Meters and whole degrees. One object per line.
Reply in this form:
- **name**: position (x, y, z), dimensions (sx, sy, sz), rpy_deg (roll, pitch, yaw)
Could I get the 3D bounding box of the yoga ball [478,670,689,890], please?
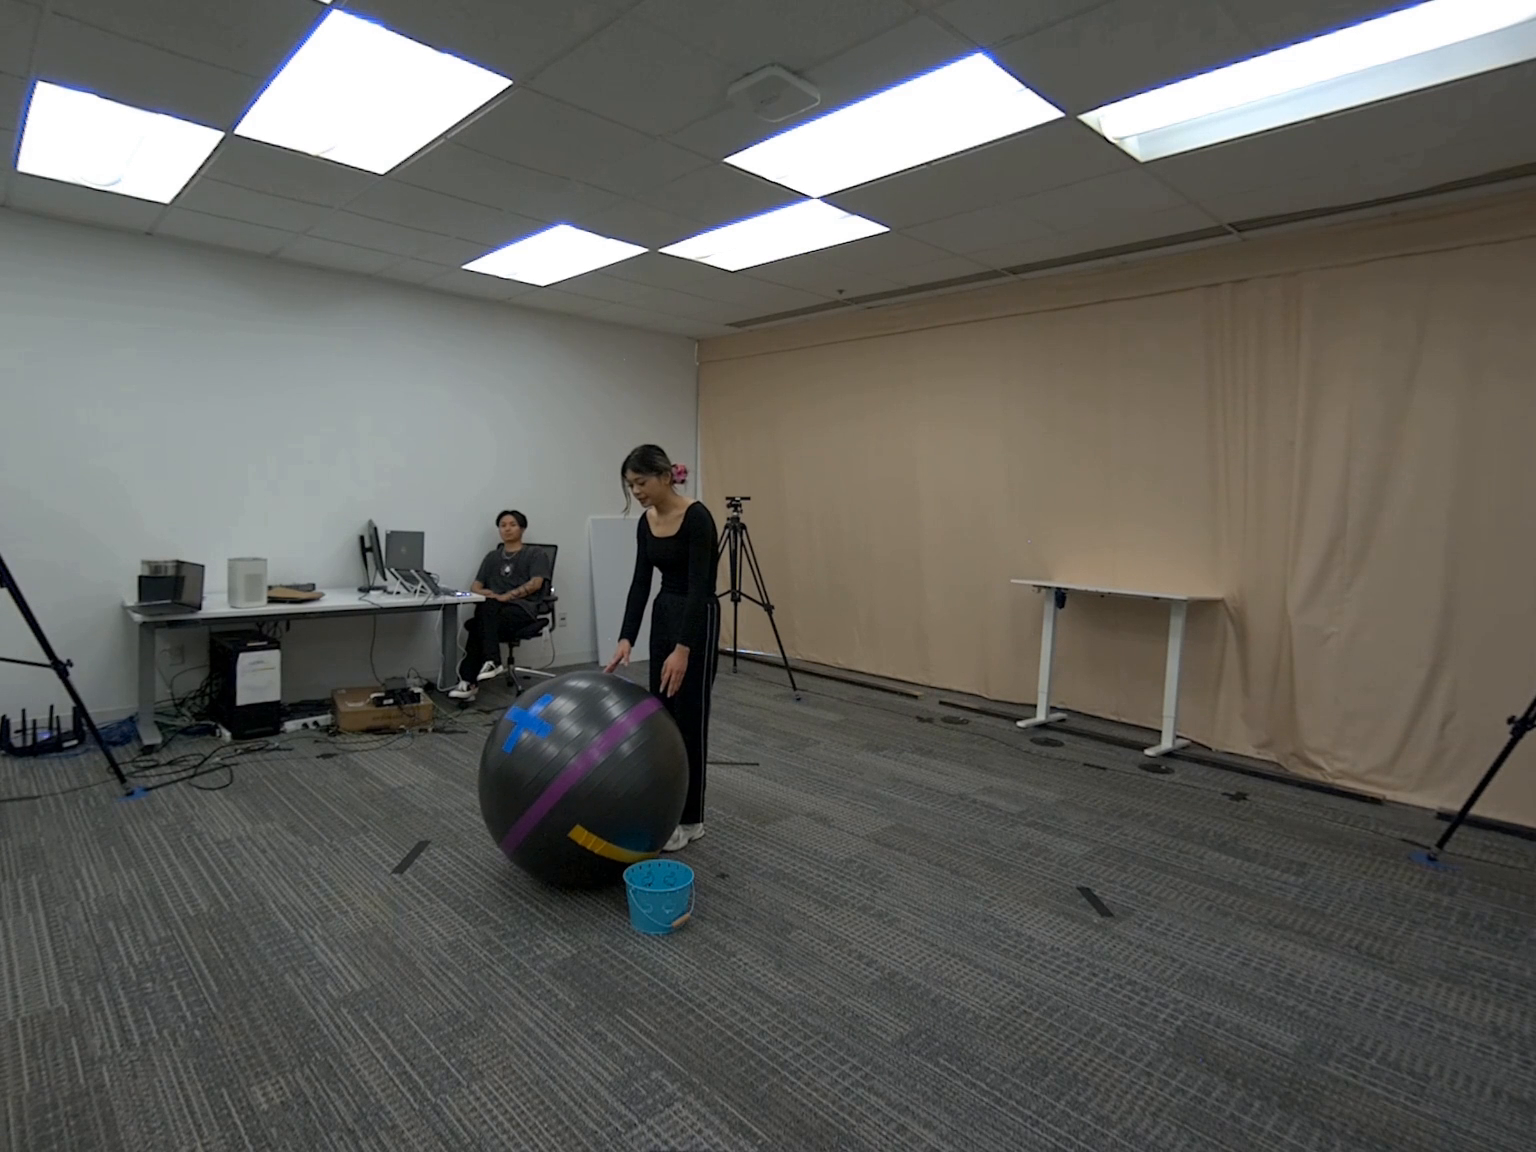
- **yoga ball**: position (-0.683, 0.742, 3.071), dimensions (0.757, 0.756, 0.761), rpy_deg (1, 4, -1)
